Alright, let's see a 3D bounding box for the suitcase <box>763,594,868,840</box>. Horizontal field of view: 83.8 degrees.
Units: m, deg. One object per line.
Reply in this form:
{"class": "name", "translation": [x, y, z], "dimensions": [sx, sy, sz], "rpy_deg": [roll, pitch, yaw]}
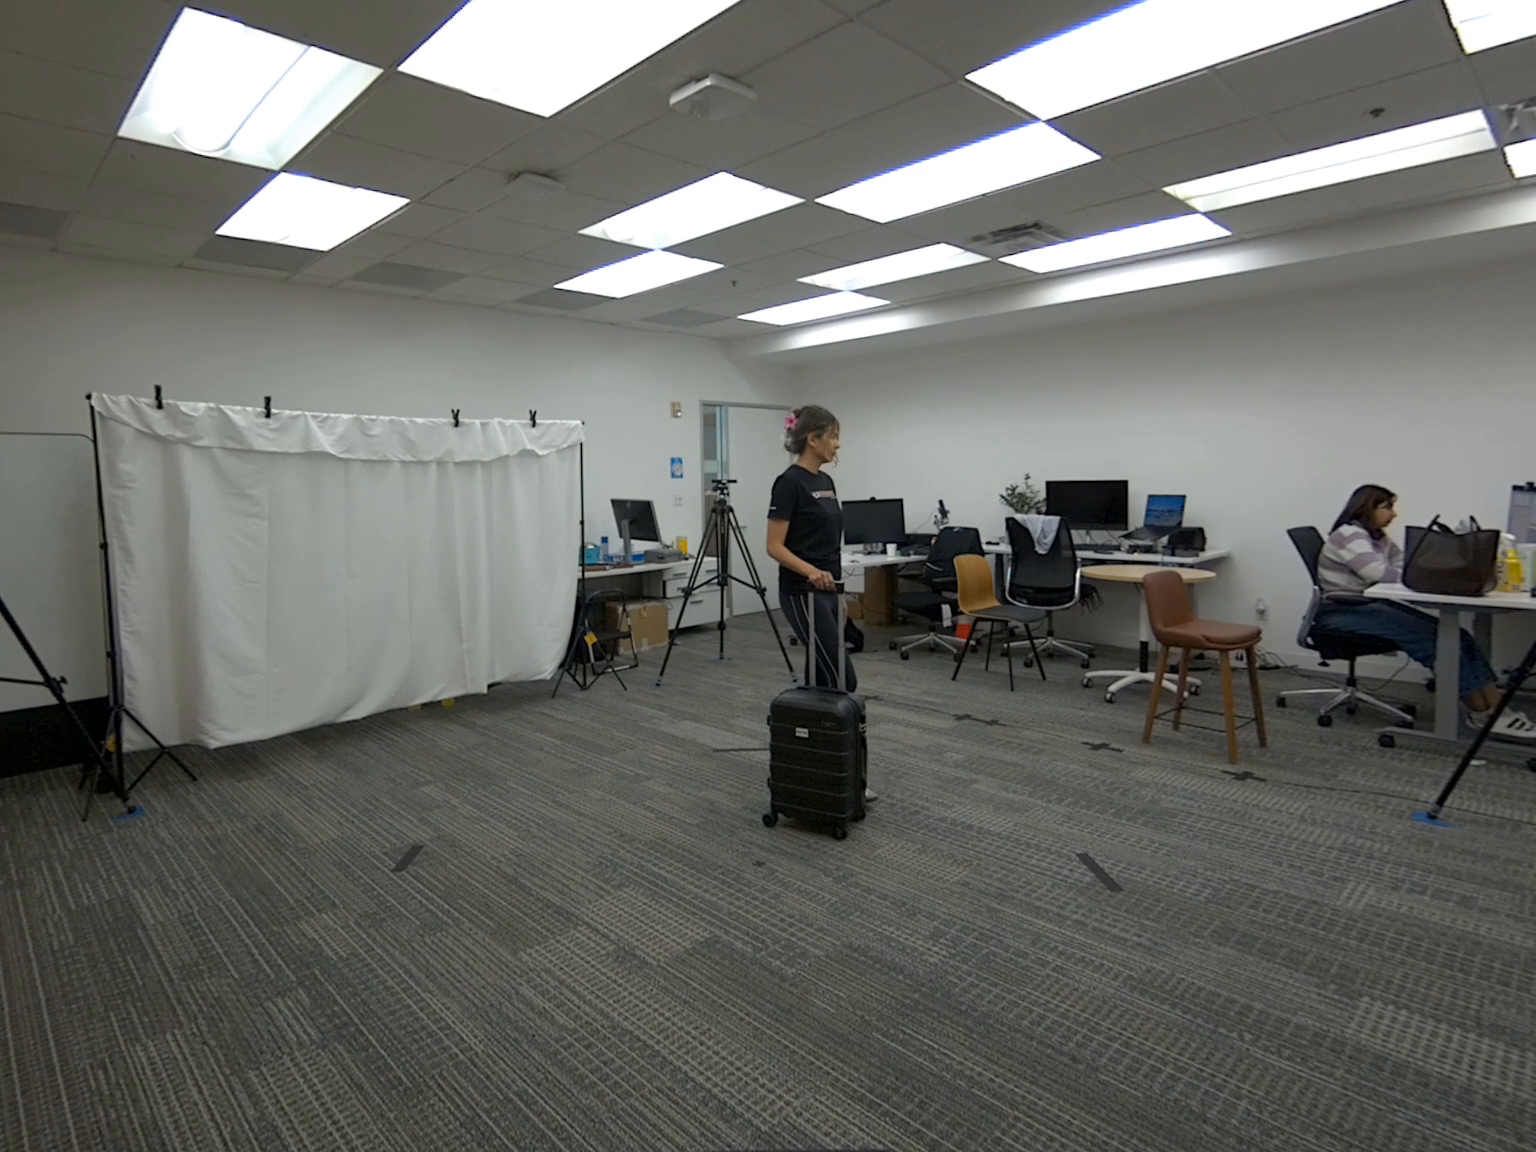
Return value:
{"class": "suitcase", "translation": [0.201, 0.536, 3.415], "dimensions": [0.394, 0.972, 0.252], "rpy_deg": [4, 8, 27]}
